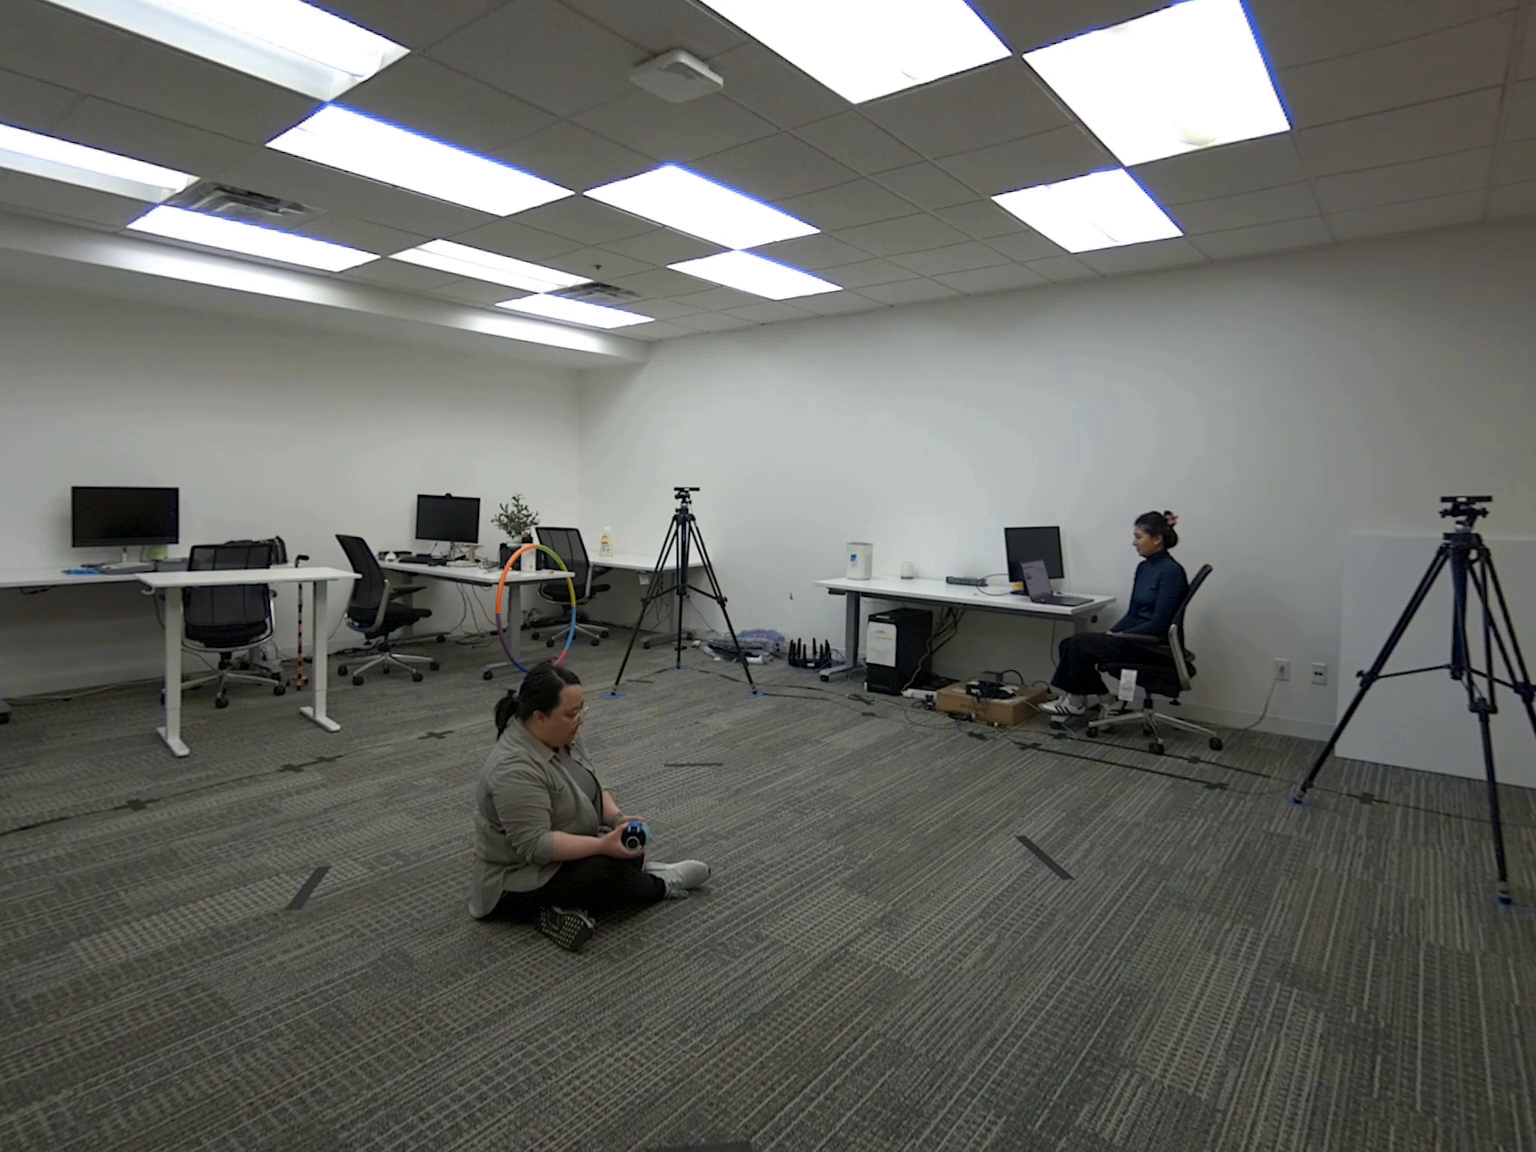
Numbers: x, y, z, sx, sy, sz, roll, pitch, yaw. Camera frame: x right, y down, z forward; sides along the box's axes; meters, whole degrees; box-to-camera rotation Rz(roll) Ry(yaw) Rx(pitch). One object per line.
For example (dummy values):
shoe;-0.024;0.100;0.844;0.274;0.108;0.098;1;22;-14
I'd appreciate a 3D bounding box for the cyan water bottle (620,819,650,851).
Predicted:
cyan water bottle;-0.440;0.848;2.744;0.092;0.093;0.280;1;-14;-3
